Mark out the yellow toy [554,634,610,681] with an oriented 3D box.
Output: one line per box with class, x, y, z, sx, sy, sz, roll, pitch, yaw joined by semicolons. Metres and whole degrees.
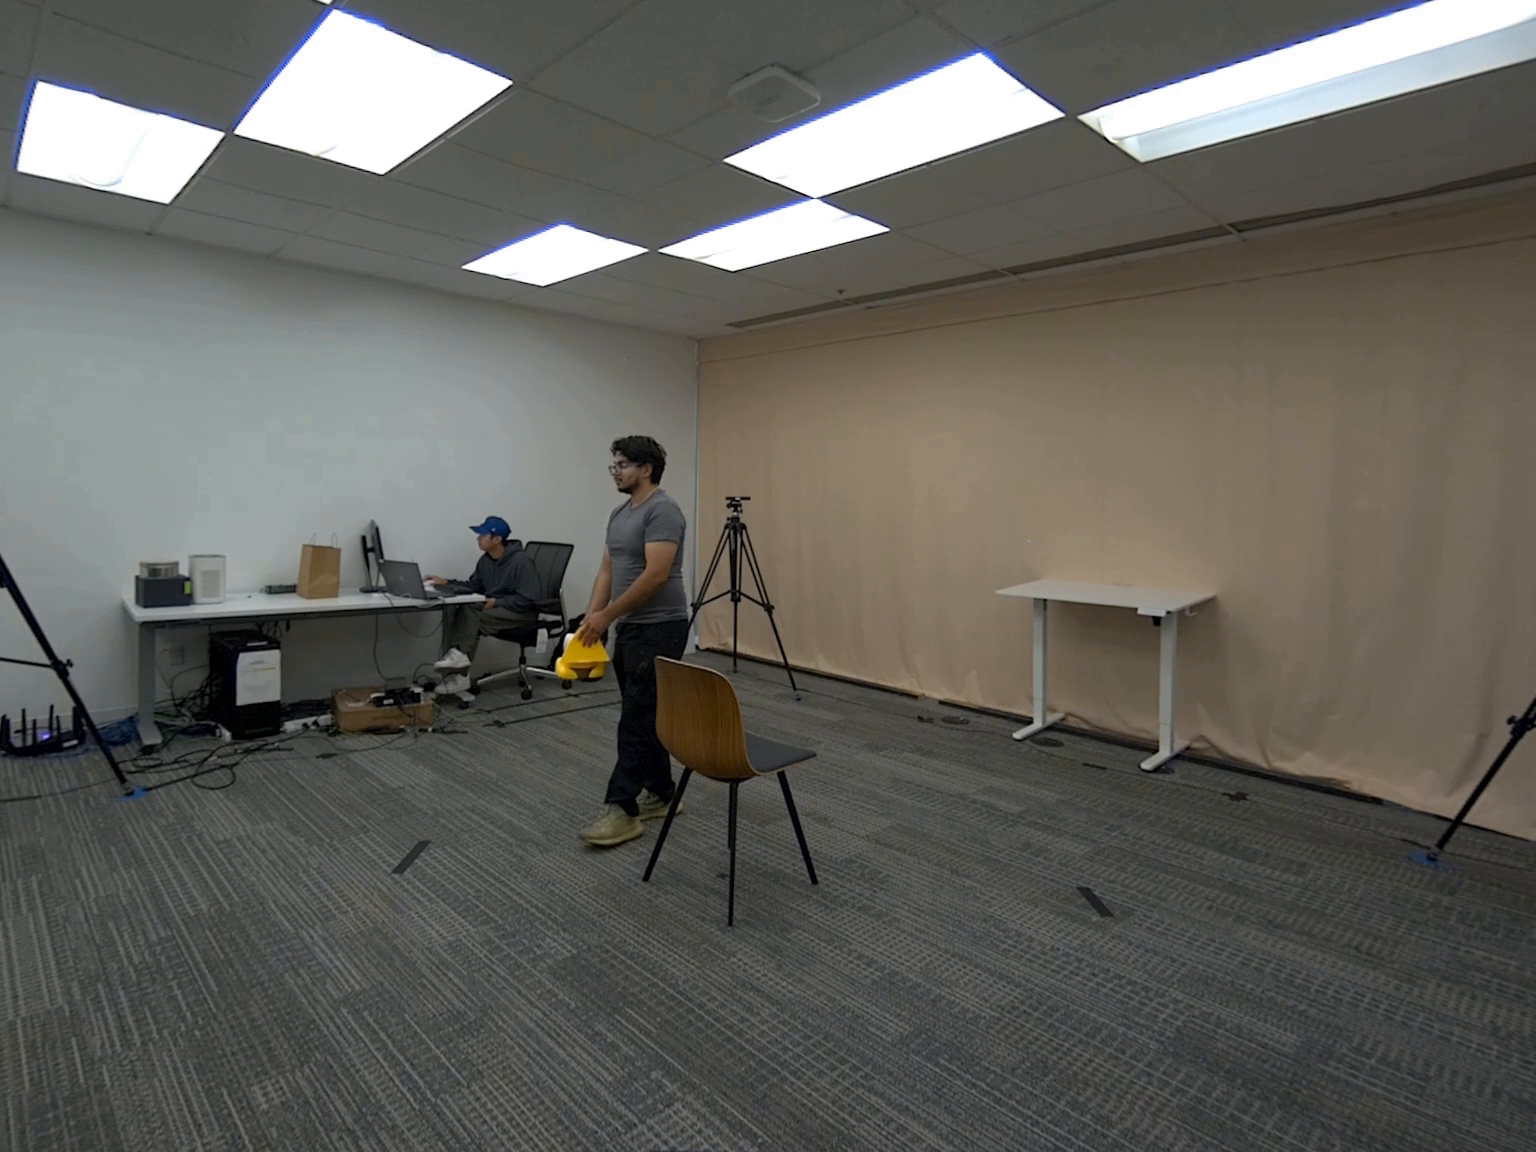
yellow toy;-0.773;0.283;3.470;0.201;0.228;0.198;-1;15;-23
